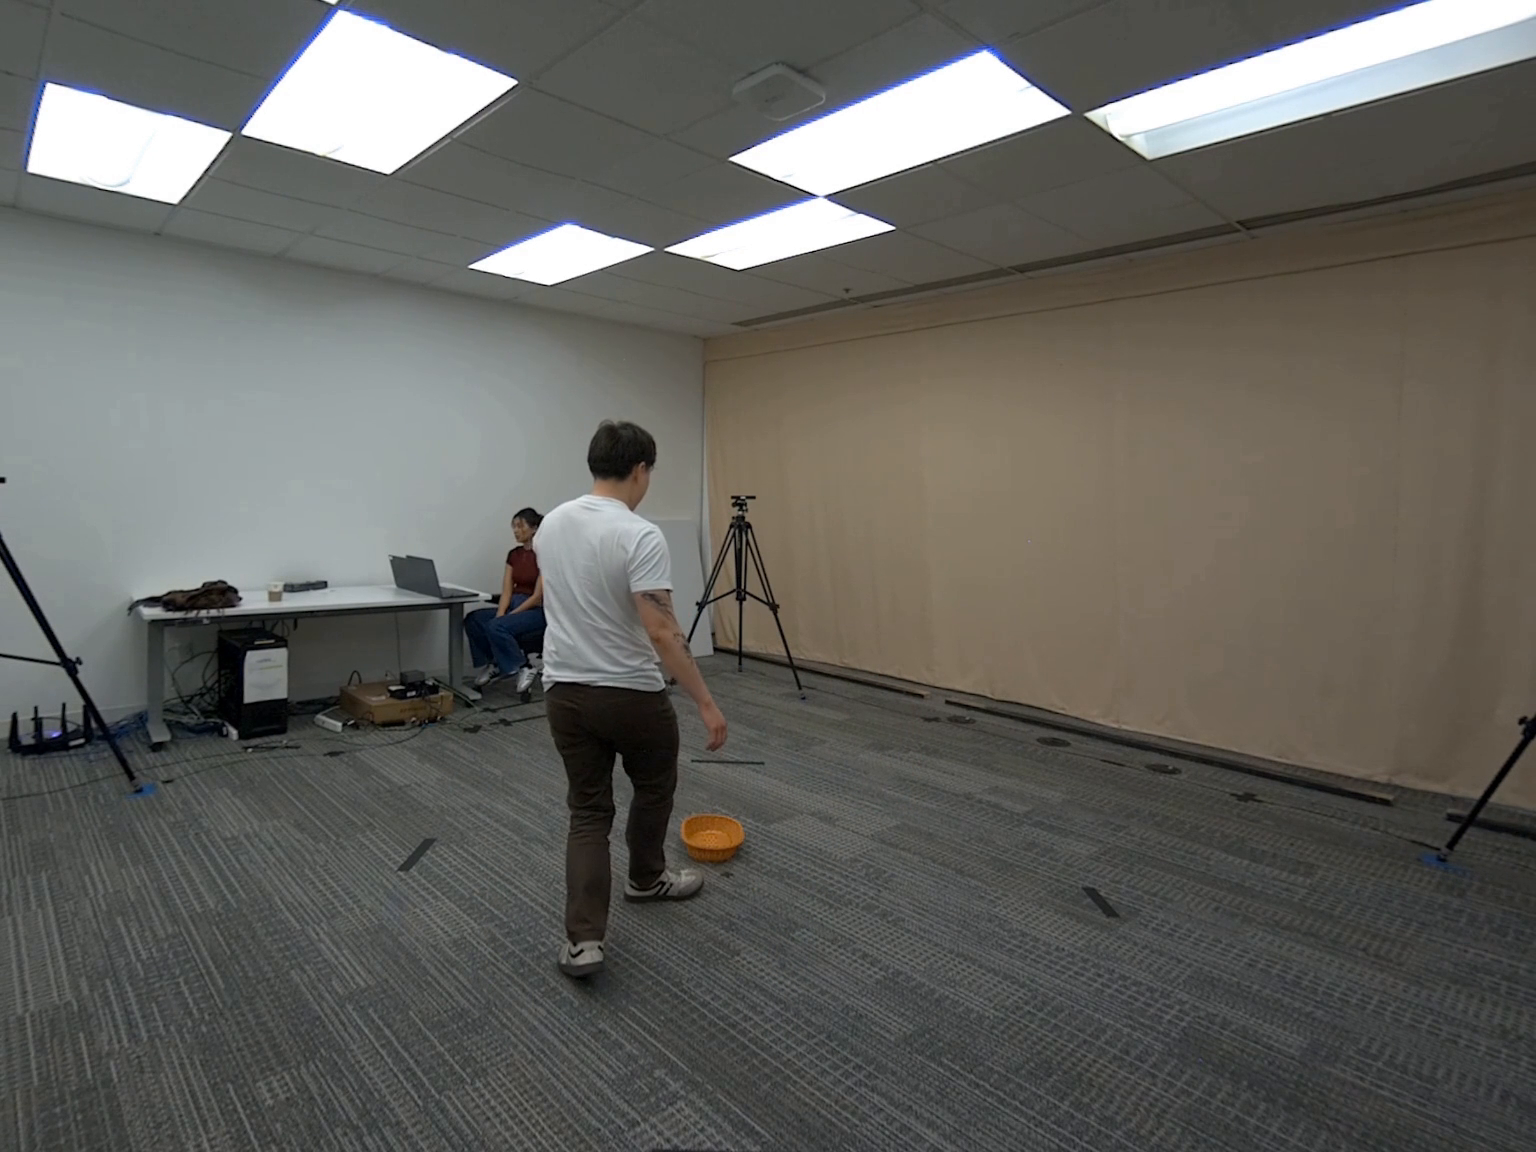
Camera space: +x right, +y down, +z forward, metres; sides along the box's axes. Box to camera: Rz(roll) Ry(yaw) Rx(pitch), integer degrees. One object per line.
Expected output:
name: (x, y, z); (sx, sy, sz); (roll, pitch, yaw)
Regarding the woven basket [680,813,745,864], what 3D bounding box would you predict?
woven basket: (-0.237, 1.041, 3.334); (0.252, 0.073, 0.352); (2, 5, -2)
